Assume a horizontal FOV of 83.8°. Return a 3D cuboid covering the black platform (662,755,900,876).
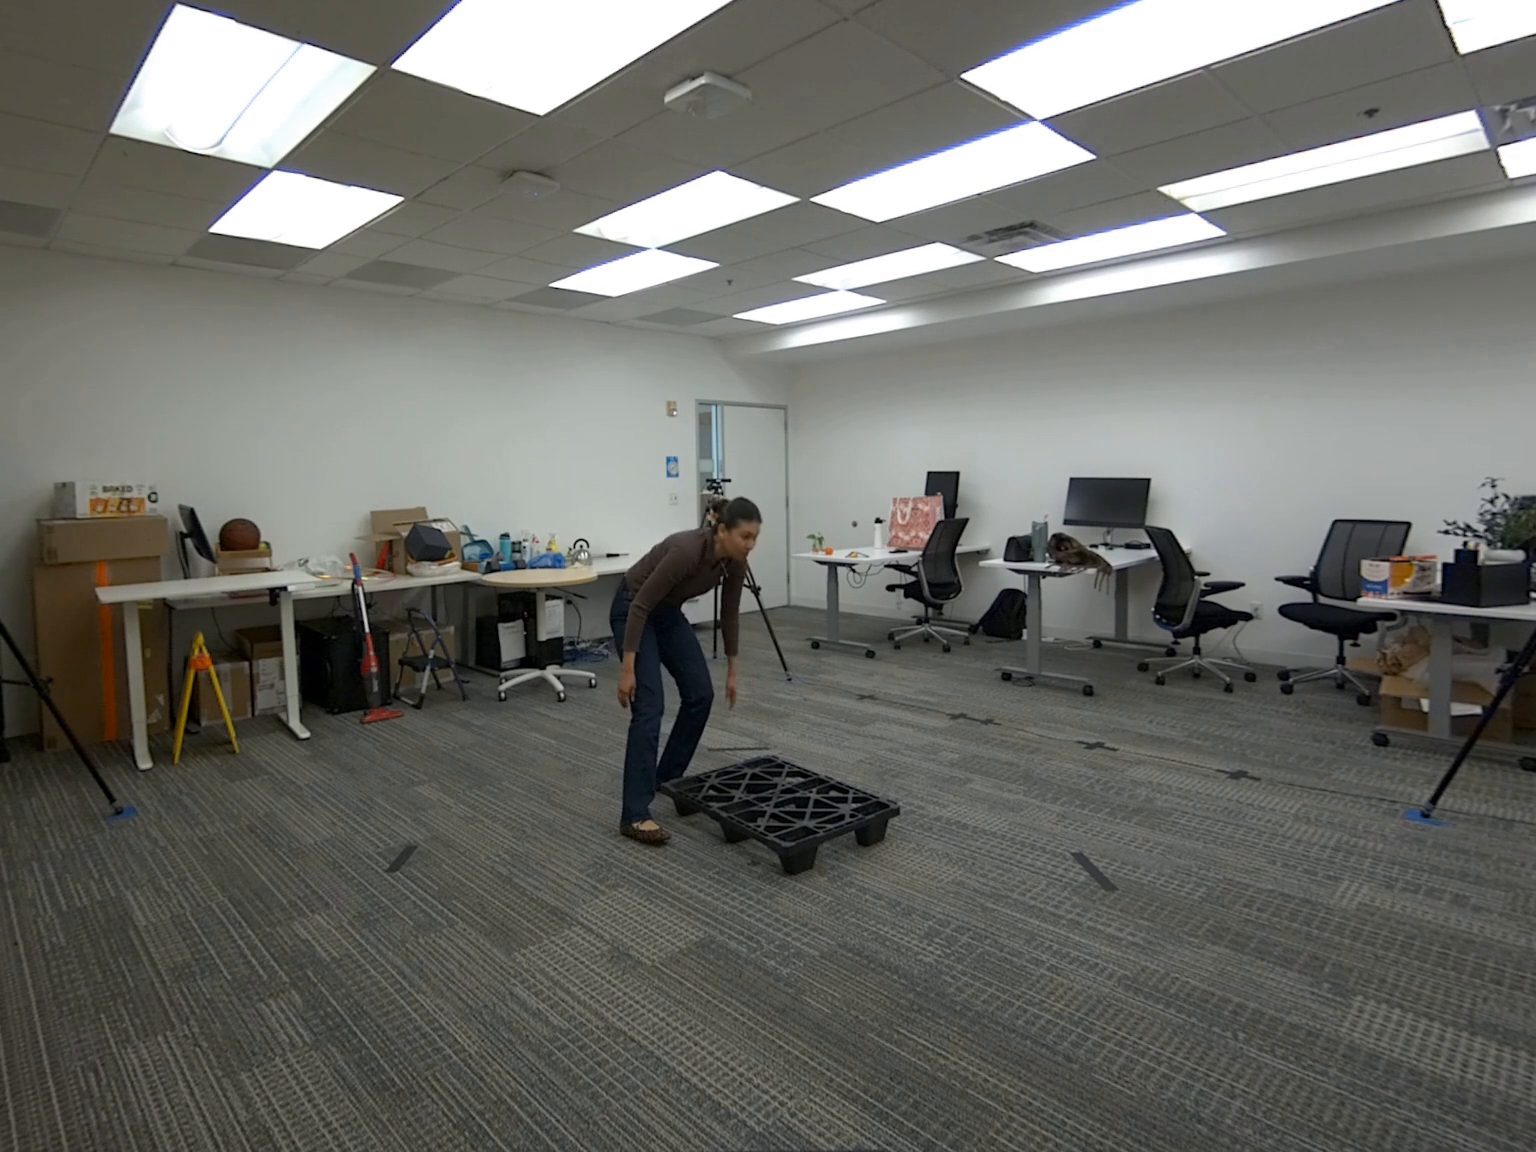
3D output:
[{"bbox_3d":[0.035,0.942,3.421,0.590,0.142,0.830,-7,8,-38],"label":"black platform"}]
